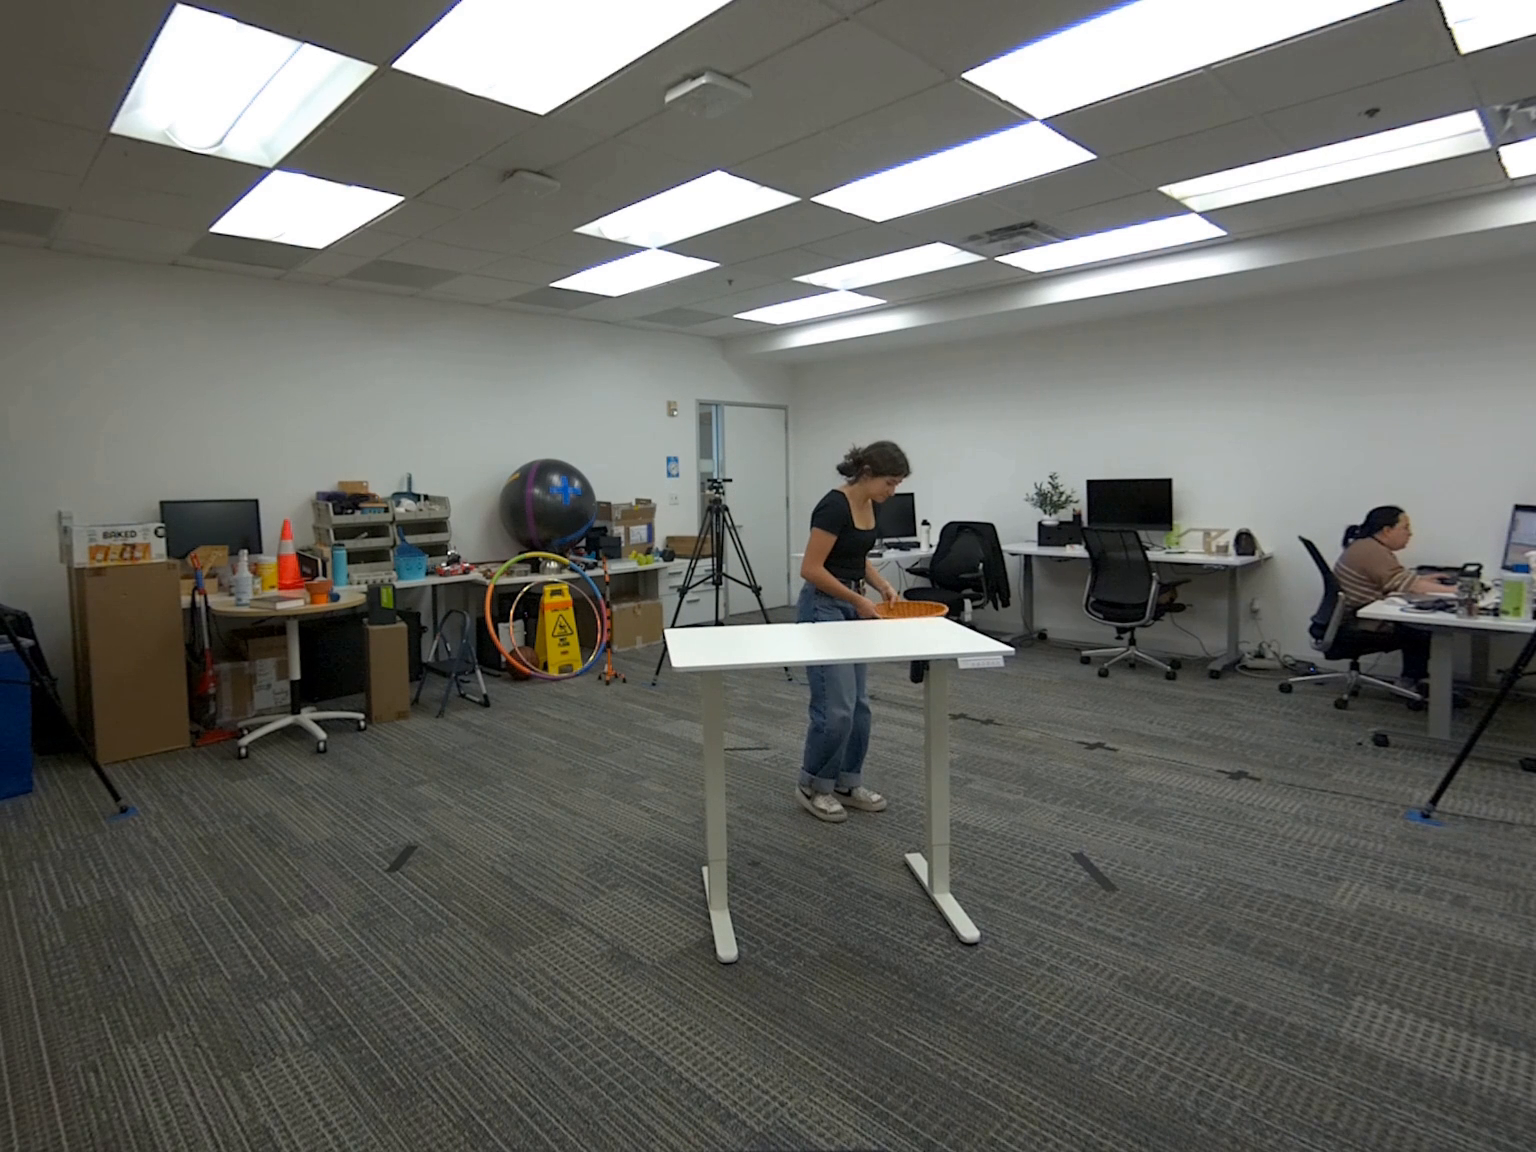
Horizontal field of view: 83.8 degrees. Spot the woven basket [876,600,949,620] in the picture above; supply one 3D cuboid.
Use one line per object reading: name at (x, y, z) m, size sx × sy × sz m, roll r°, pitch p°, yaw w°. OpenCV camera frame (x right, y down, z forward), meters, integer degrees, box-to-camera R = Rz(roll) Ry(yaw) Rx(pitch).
woven basket at (0.568, 0.165, 3.492) m, size 0.361 × 0.073 × 0.247 m, roll 4°, pitch 10°, yaw 37°
